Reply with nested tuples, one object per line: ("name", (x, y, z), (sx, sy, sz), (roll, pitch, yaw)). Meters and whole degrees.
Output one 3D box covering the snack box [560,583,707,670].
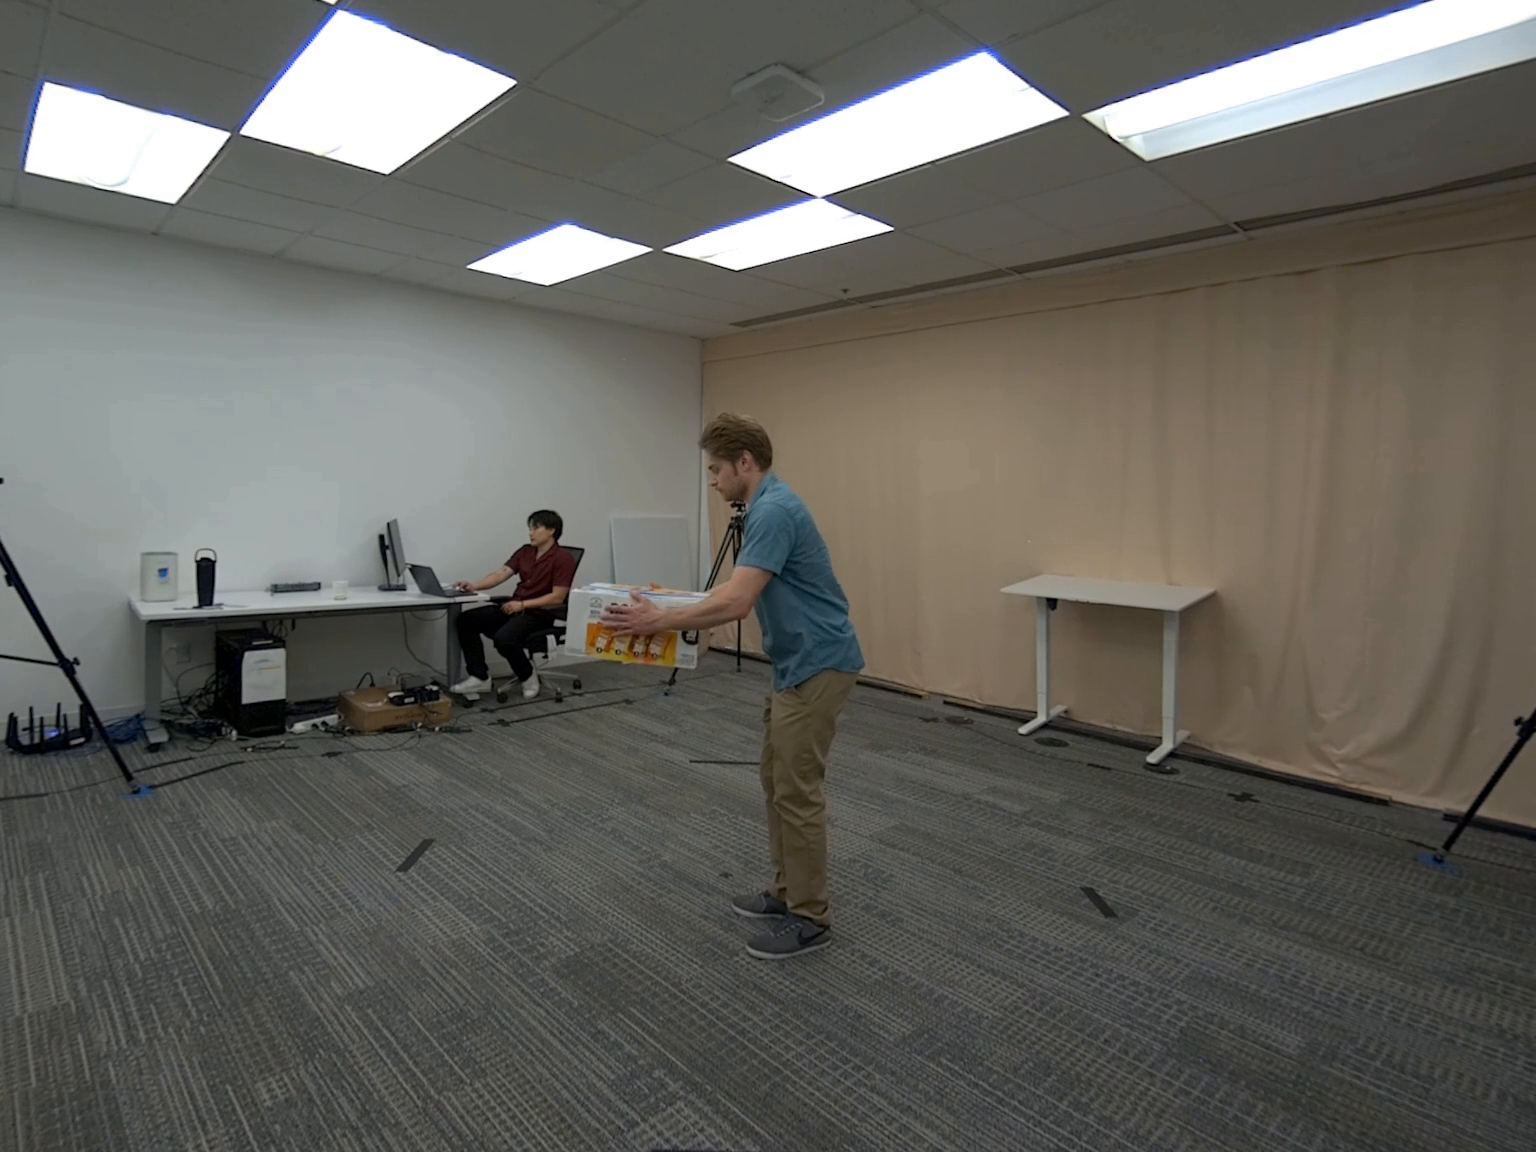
("snack box", (-0.412, 0.162, 2.711), (0.406, 0.205, 0.340), (5, 3, 3))
